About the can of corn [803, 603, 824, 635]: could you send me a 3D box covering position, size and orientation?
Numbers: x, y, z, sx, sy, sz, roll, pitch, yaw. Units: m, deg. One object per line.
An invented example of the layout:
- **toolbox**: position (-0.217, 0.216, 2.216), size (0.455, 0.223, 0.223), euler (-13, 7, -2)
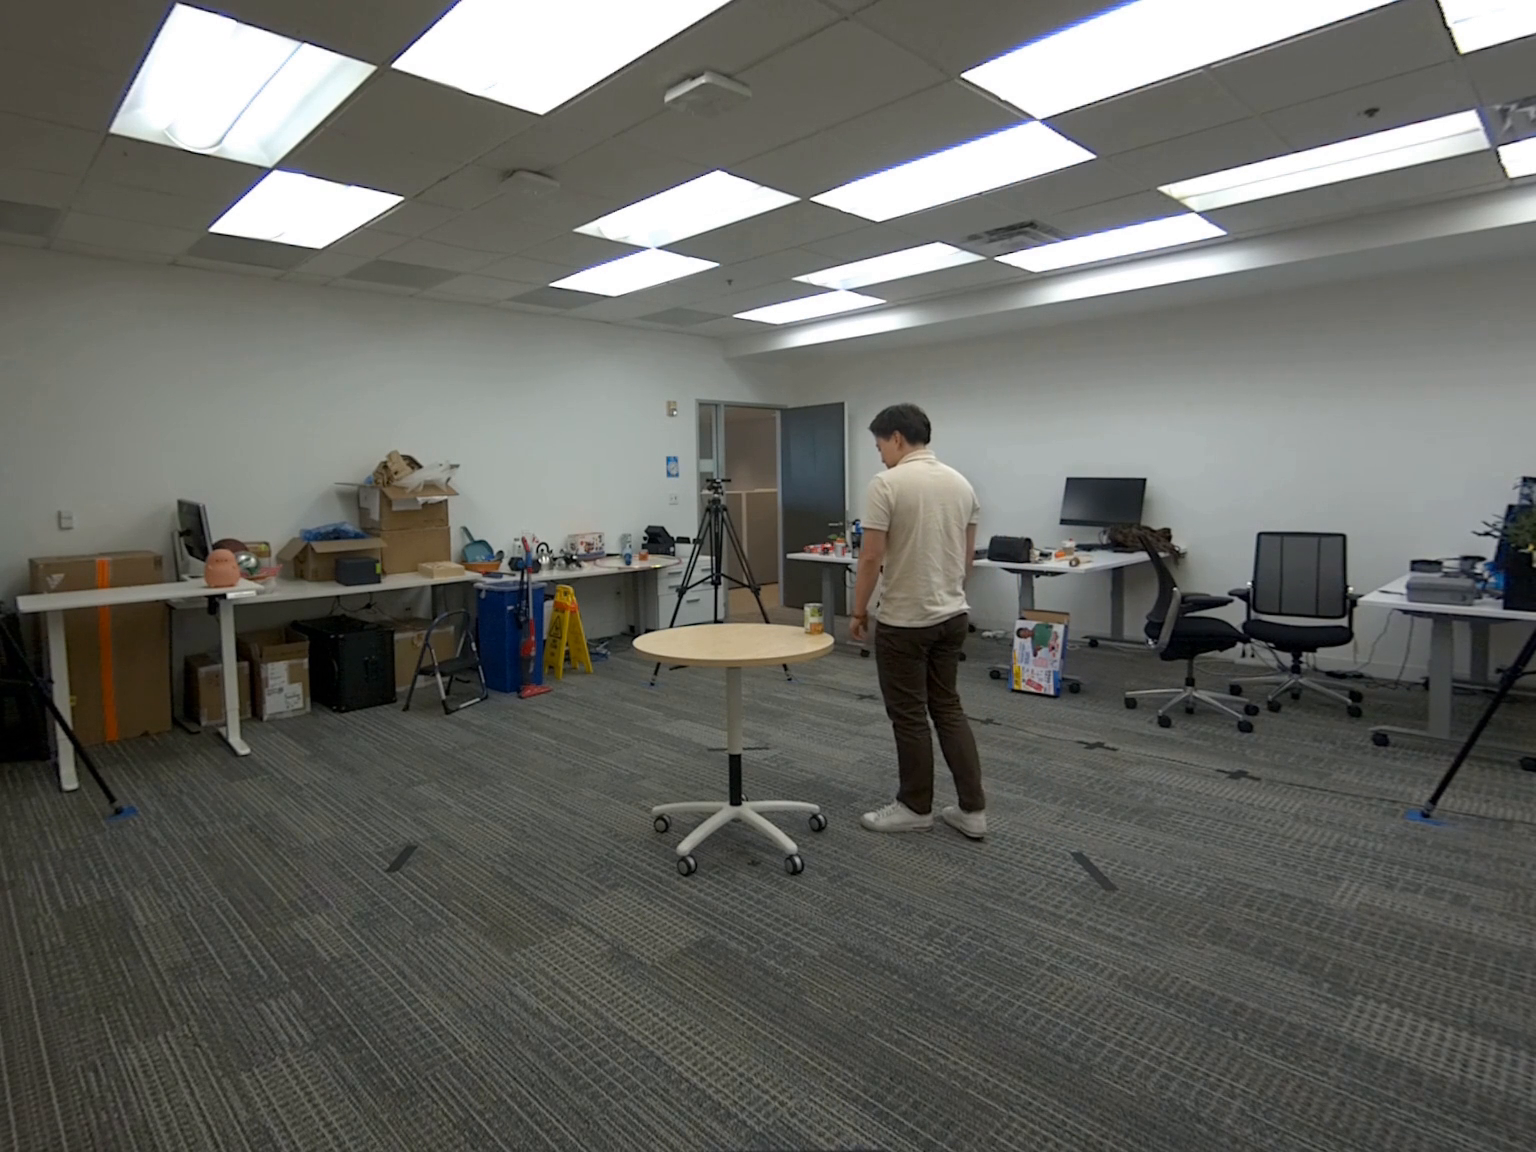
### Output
- **can of corn**: position (0.188, 0.169, 3.386), size (0.074, 0.111, 0.074), euler (1, 1, -2)
